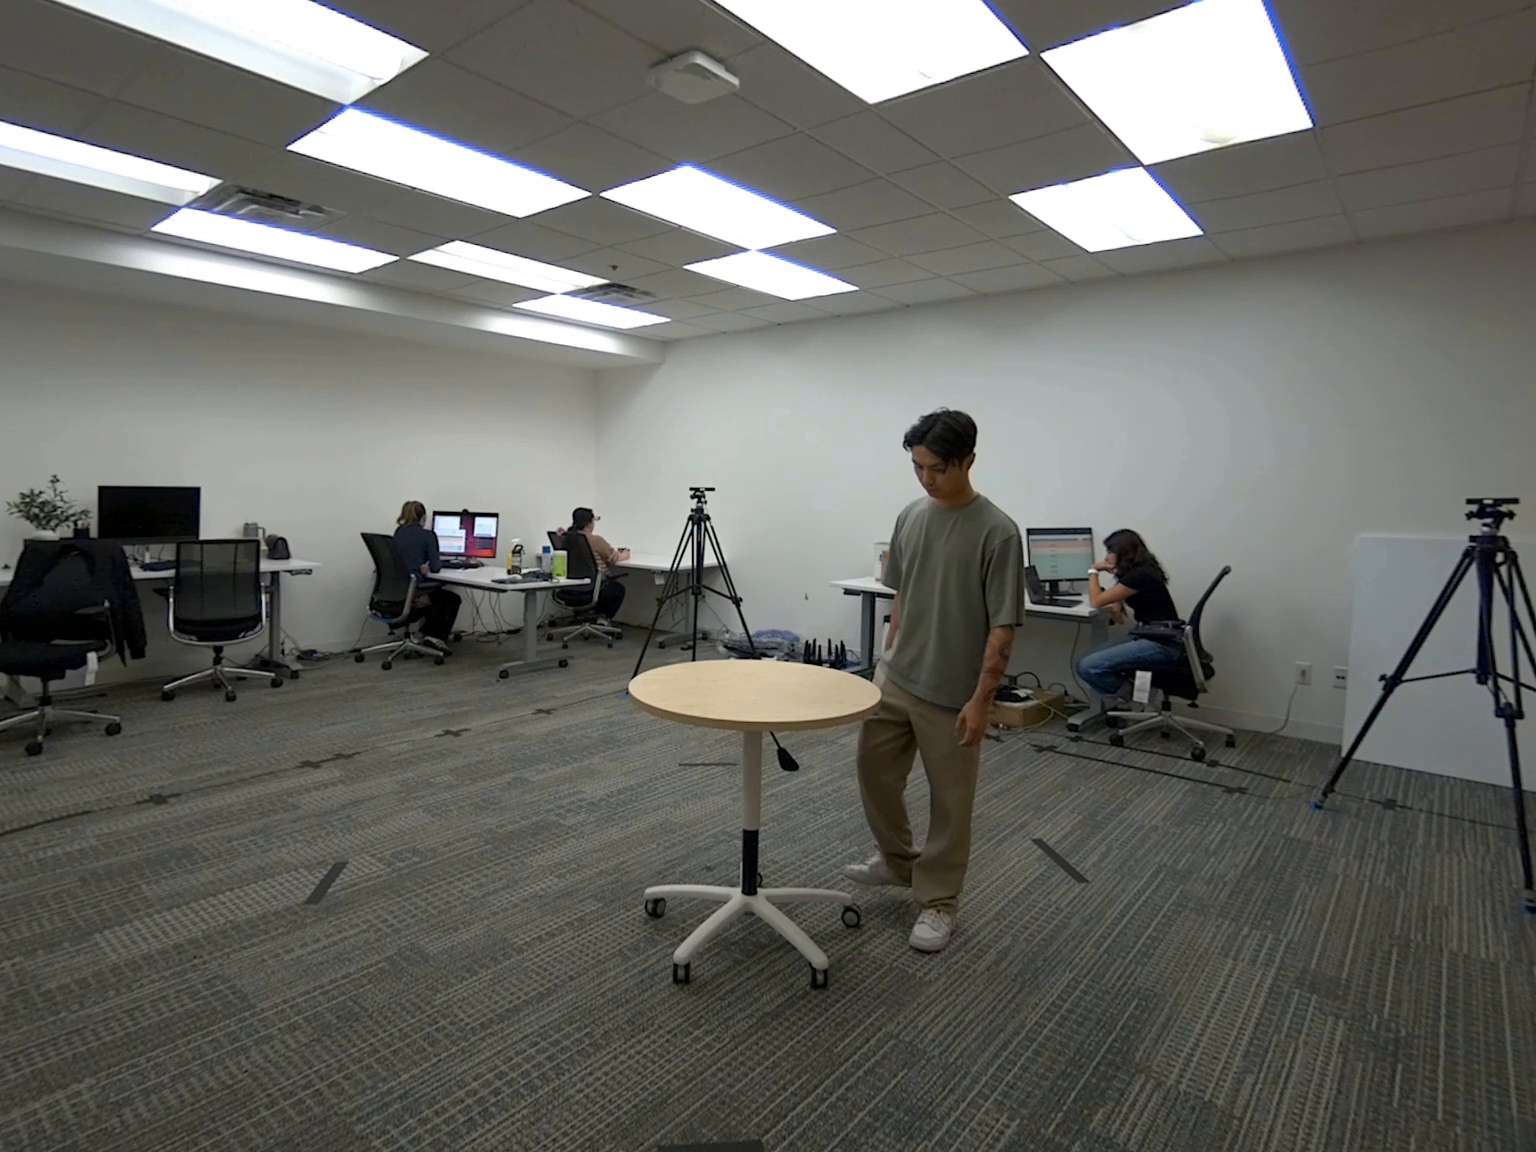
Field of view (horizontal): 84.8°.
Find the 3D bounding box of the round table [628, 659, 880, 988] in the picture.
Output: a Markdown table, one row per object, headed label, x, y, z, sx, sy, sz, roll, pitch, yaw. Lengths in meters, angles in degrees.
| label | x | y | z | sx | sy | sz | roll | pitch | yaw |
| --- | --- | --- | --- | --- | --- | --- | --- | --- | --- |
| round table | -0.058 | 0.726 | 2.606 | 0.784 | 0.784 | 0.789 | 1 | 4 | -2 |
